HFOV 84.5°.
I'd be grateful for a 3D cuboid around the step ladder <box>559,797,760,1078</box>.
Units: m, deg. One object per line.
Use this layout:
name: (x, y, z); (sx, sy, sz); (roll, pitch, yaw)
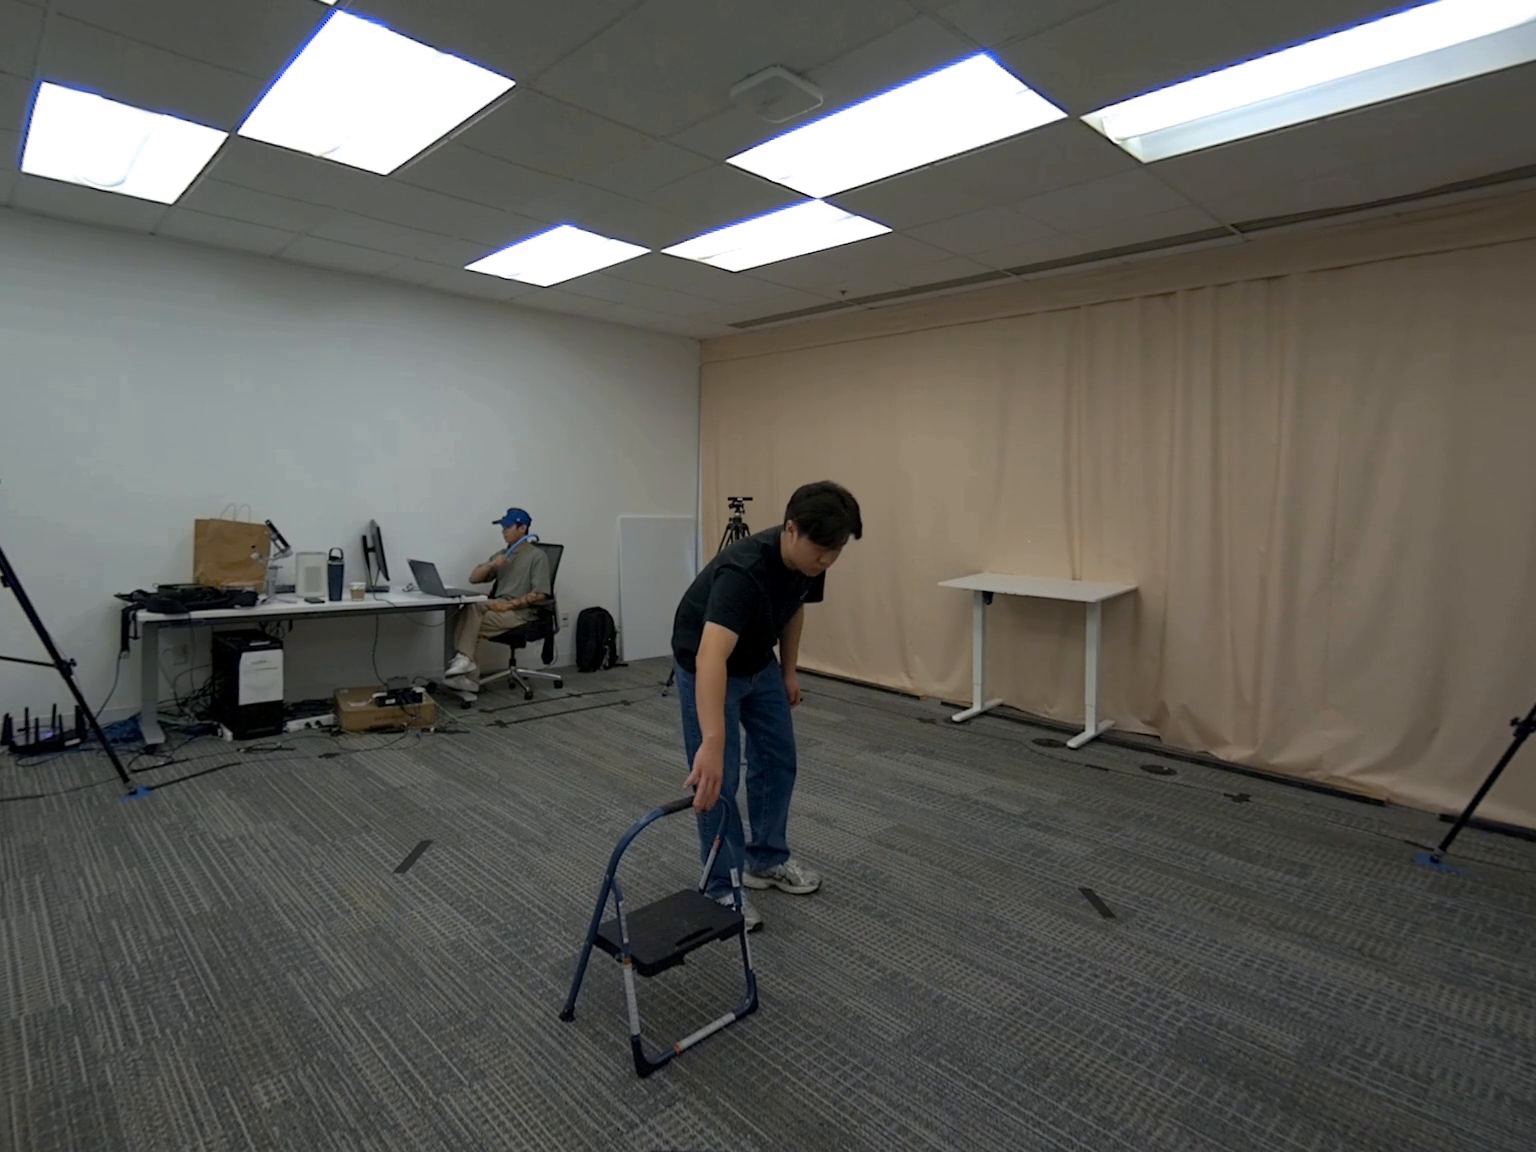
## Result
step ladder: (-0.287, 0.881, 2.253); (0.358, 0.605, 0.421); (4, 5, 42)
